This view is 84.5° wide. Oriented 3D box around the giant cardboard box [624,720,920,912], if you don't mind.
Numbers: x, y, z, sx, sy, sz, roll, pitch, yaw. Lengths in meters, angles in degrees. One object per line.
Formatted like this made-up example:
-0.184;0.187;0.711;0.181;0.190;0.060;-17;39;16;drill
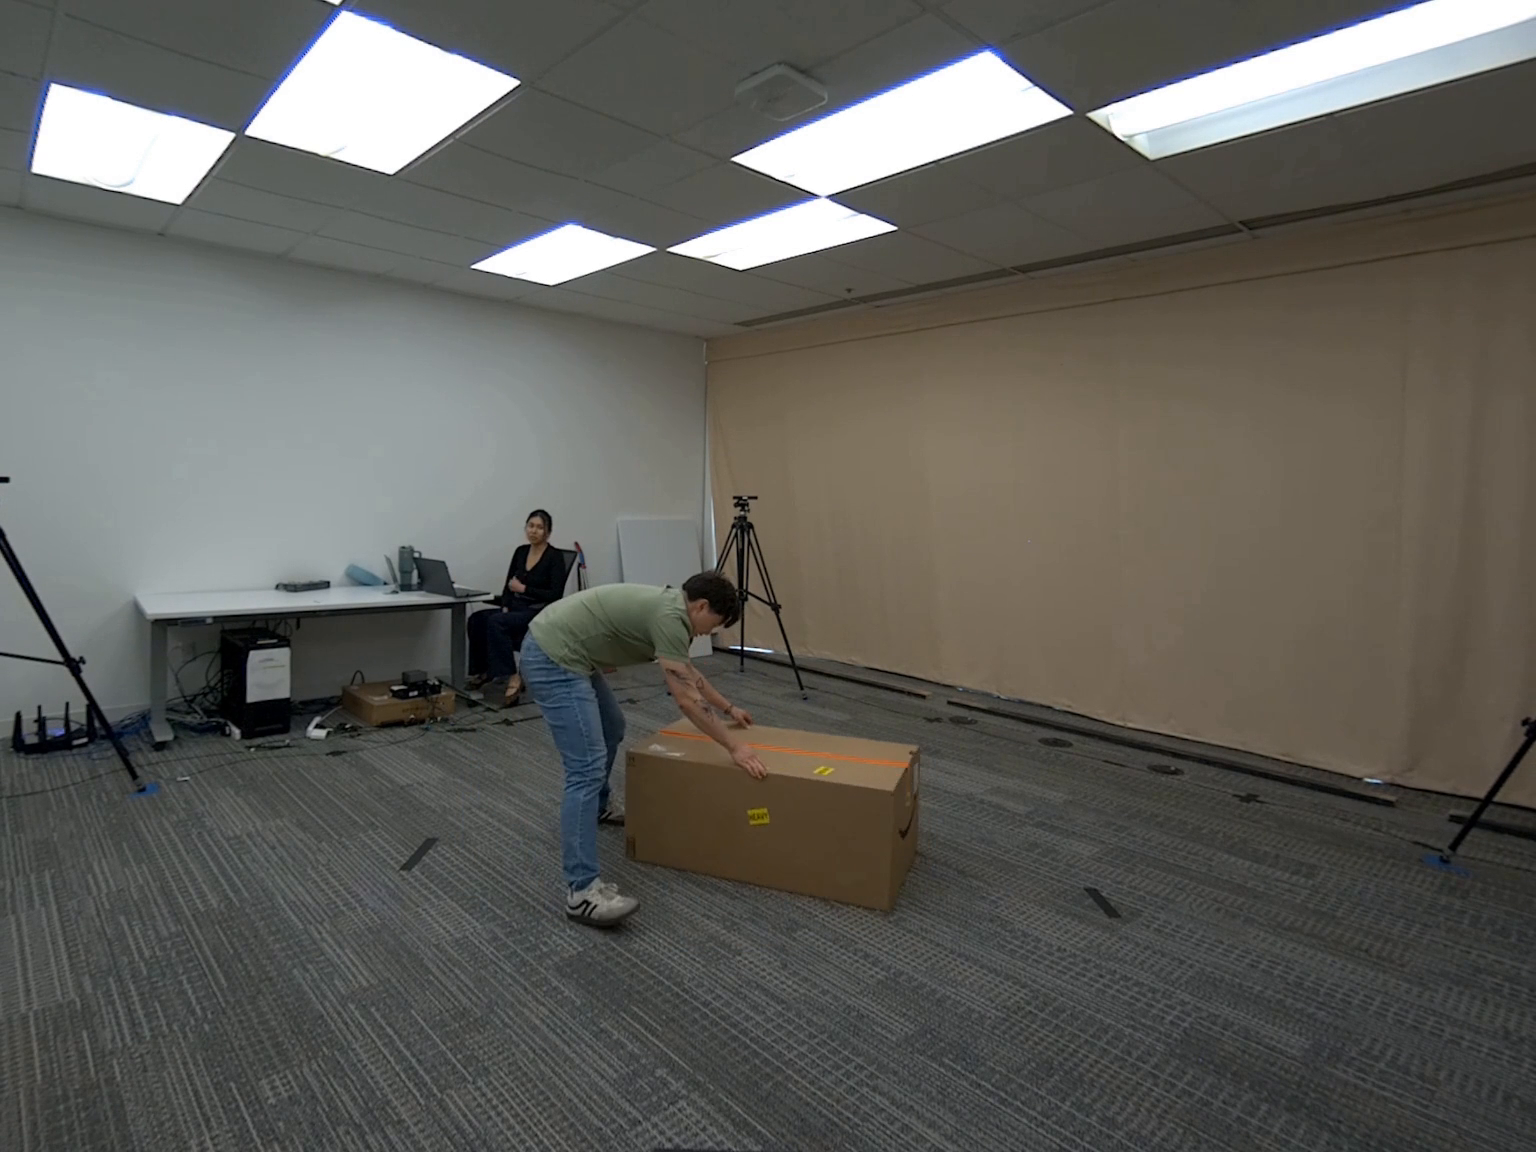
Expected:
0.023;0.873;3.287;1.043;0.425;0.570;3;6;21;giant cardboard box
